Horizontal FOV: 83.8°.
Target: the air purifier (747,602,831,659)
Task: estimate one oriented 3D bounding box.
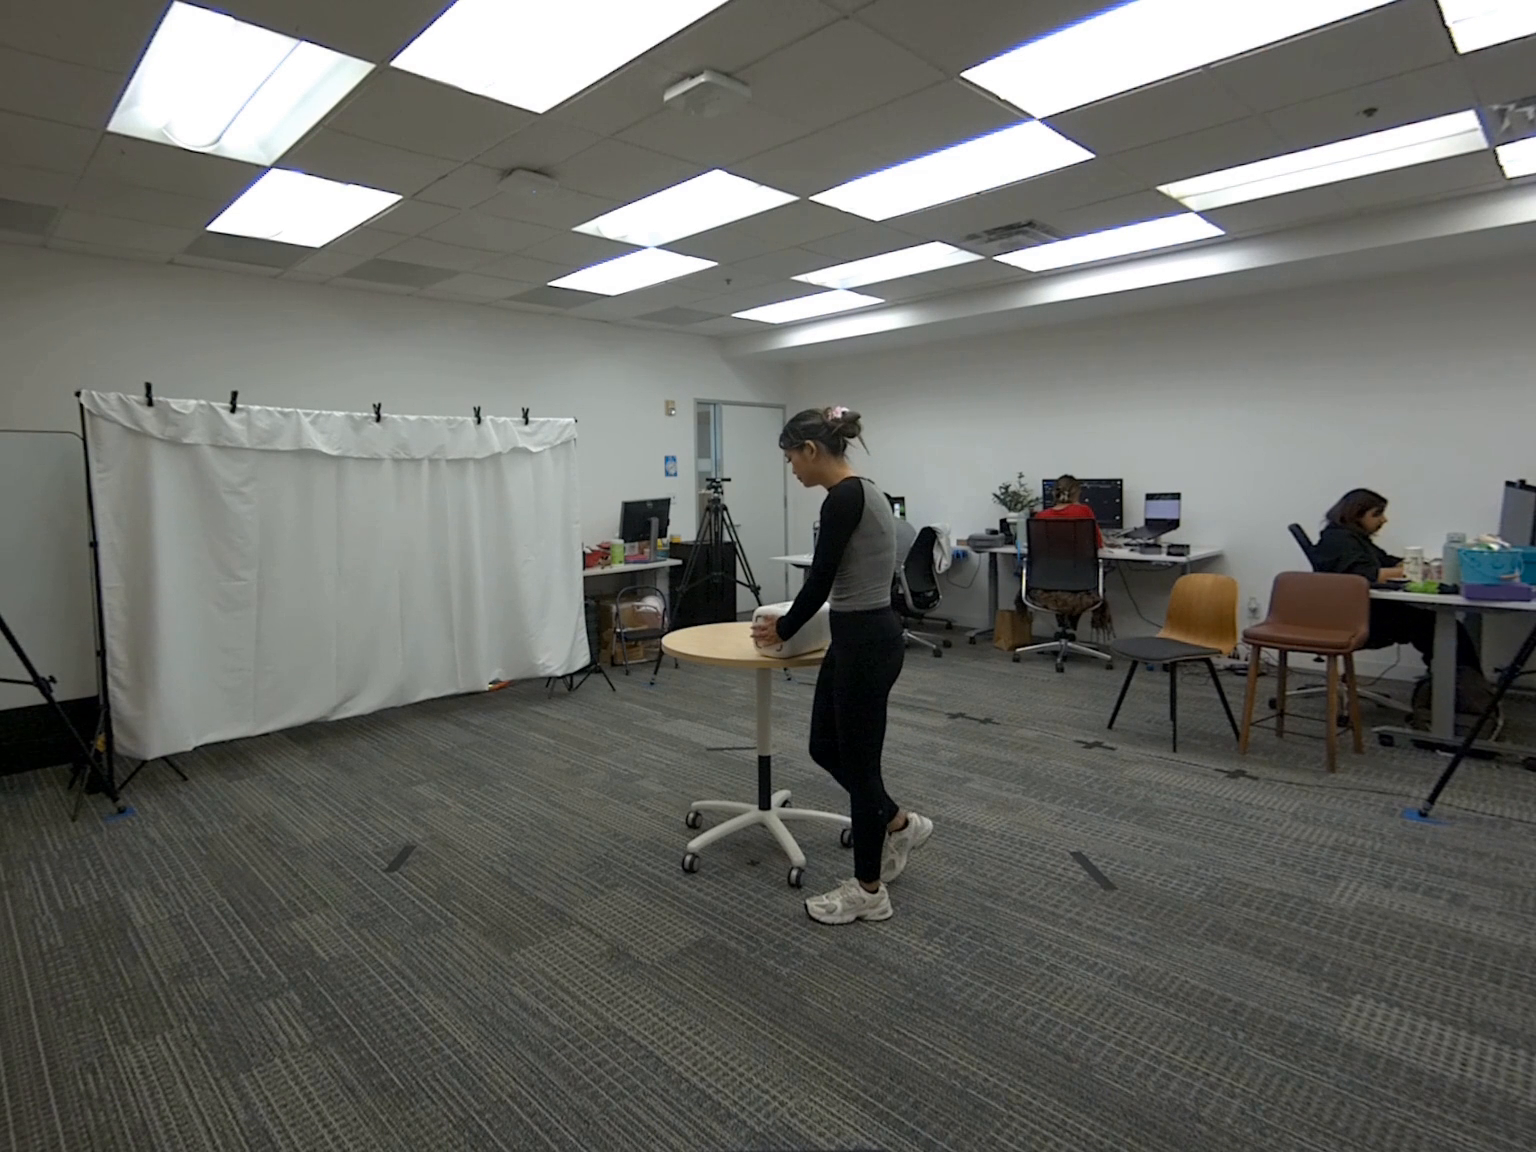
[{"bbox_3d":[0.086,0.178,2.951,0.176,0.171,0.259,4,7,37],"label":"air purifier"}]
